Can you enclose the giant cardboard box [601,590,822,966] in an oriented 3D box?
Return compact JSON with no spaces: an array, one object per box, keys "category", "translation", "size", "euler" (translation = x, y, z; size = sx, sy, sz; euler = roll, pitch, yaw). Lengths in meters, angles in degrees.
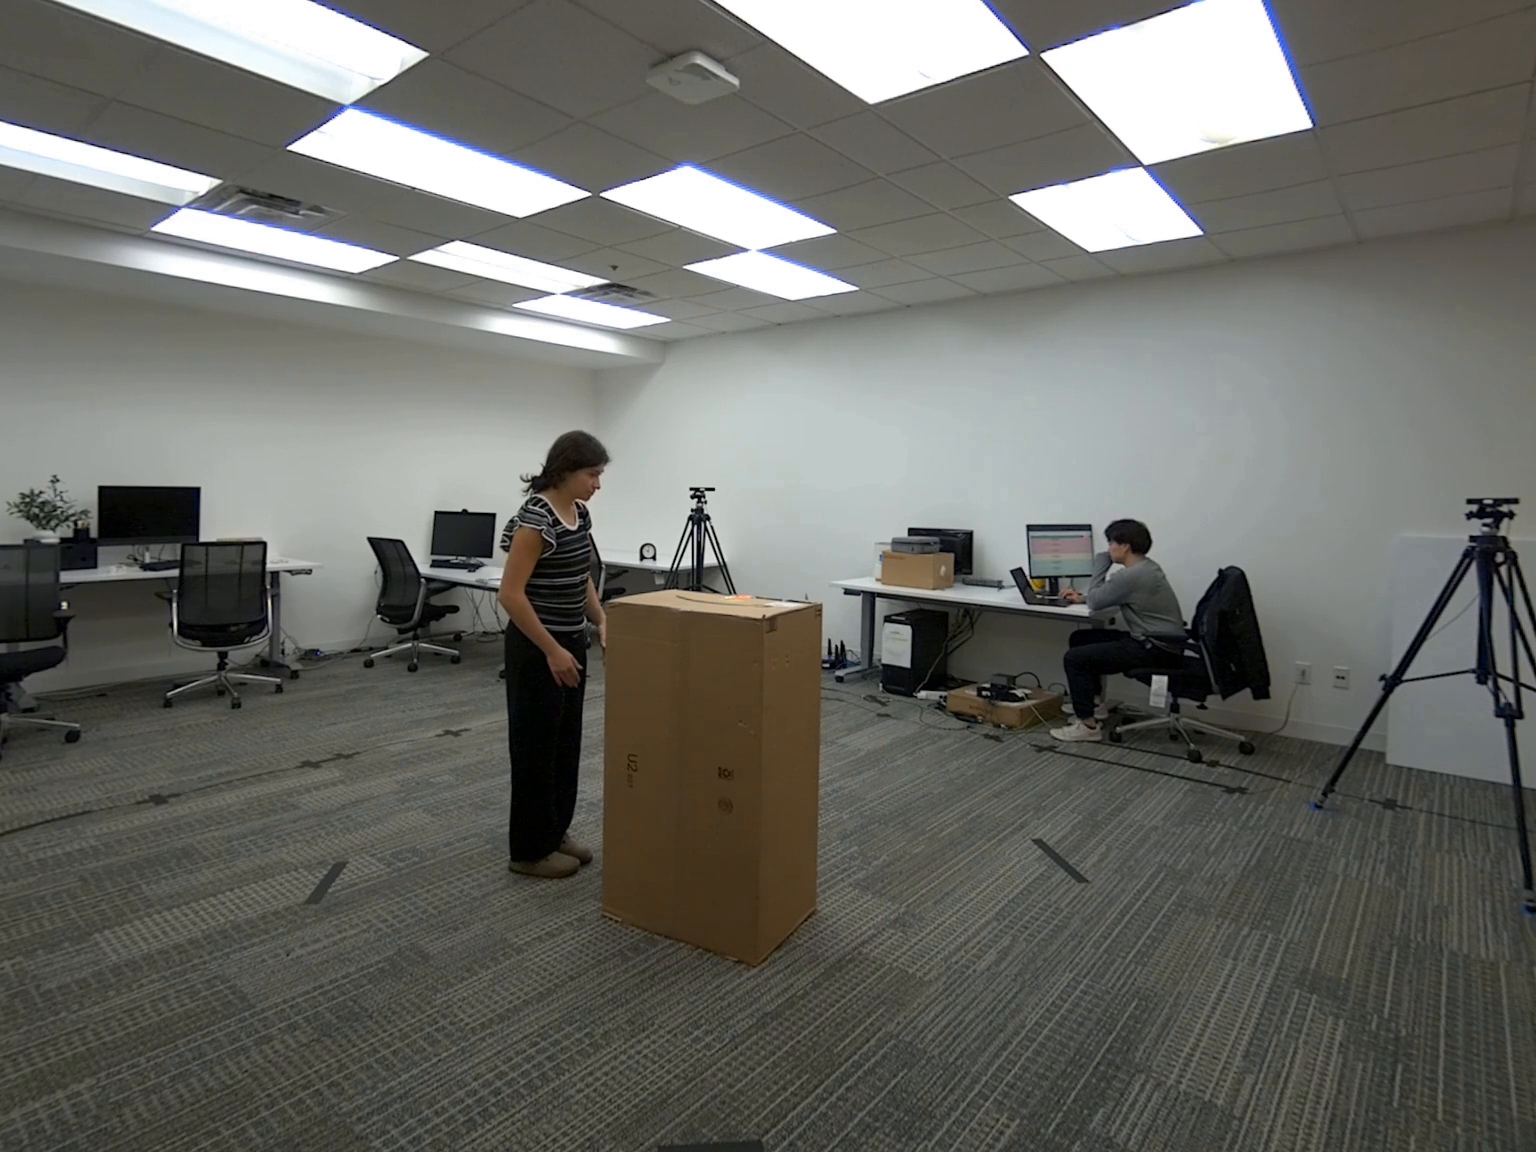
[{"category":"giant cardboard box","translation":[-0.187,0.592,2.765],"size":[0.594,1.023,0.415],"euler":[3,3,29]}]
